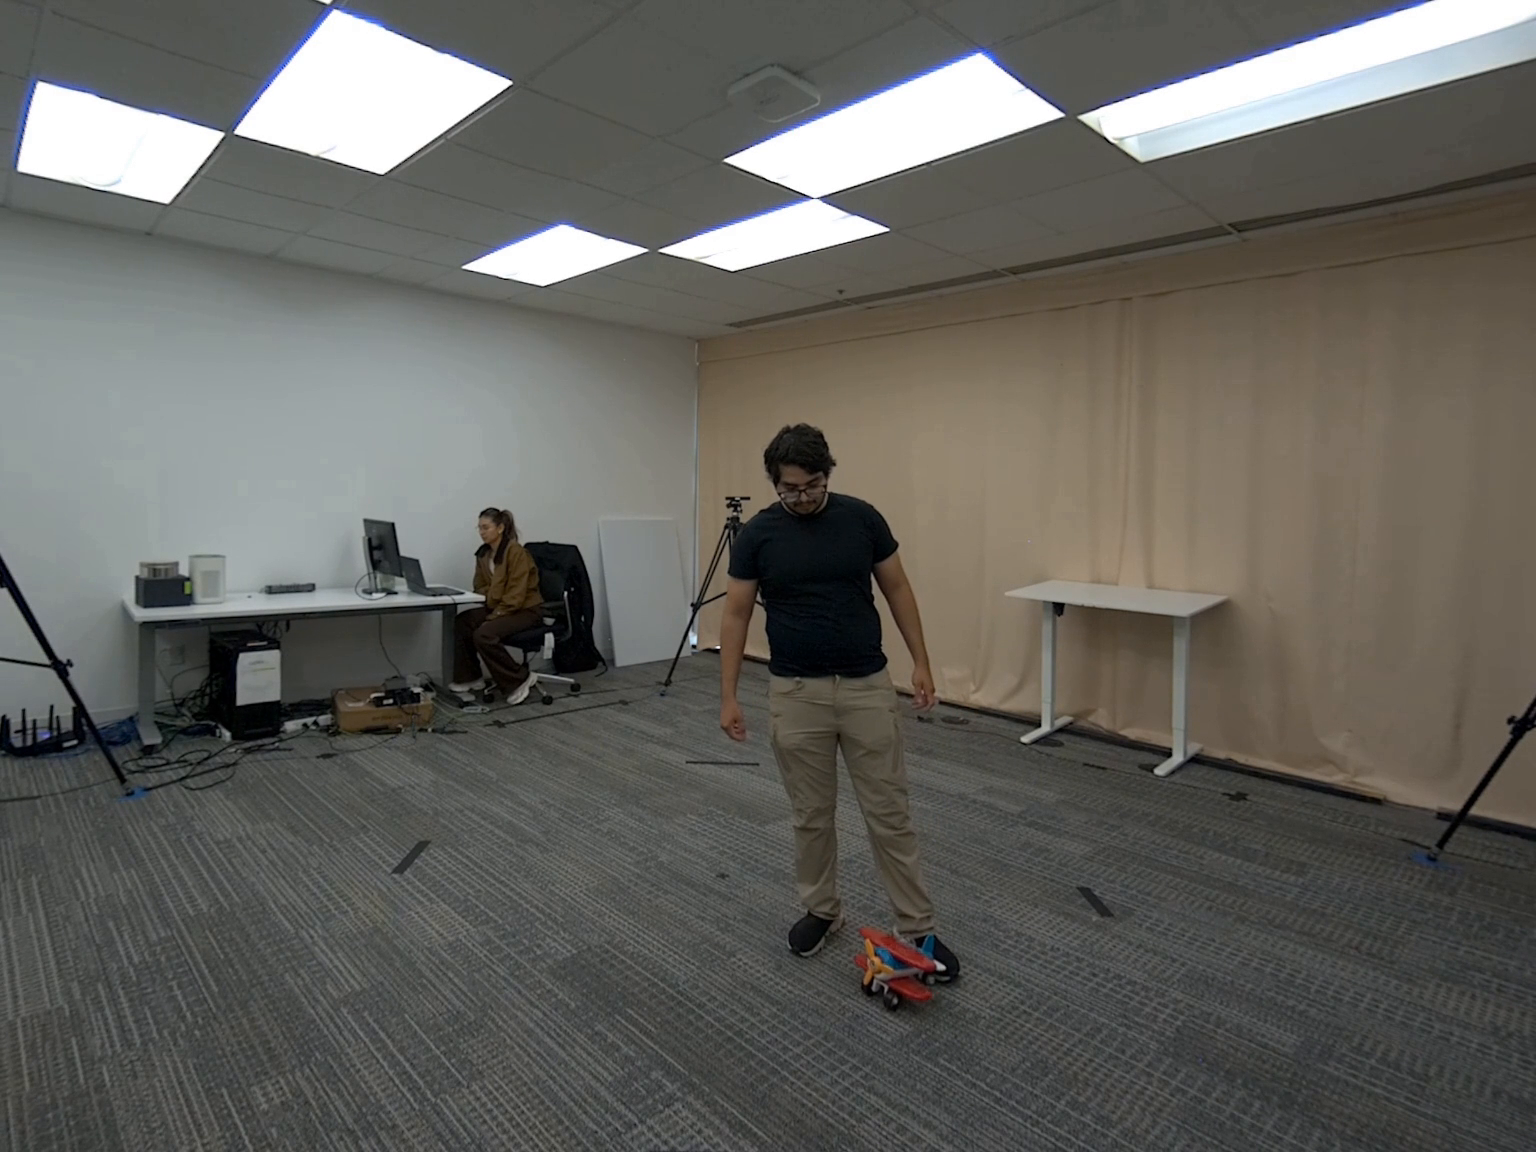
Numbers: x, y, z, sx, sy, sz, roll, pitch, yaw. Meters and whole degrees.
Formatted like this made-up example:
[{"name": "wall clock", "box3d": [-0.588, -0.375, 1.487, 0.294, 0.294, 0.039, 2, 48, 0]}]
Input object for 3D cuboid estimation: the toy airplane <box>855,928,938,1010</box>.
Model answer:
[{"name": "toy airplane", "box3d": [0.359, 1.107, 2.405, 0.255, 0.156, 0.255, 4, 7, 22]}]
